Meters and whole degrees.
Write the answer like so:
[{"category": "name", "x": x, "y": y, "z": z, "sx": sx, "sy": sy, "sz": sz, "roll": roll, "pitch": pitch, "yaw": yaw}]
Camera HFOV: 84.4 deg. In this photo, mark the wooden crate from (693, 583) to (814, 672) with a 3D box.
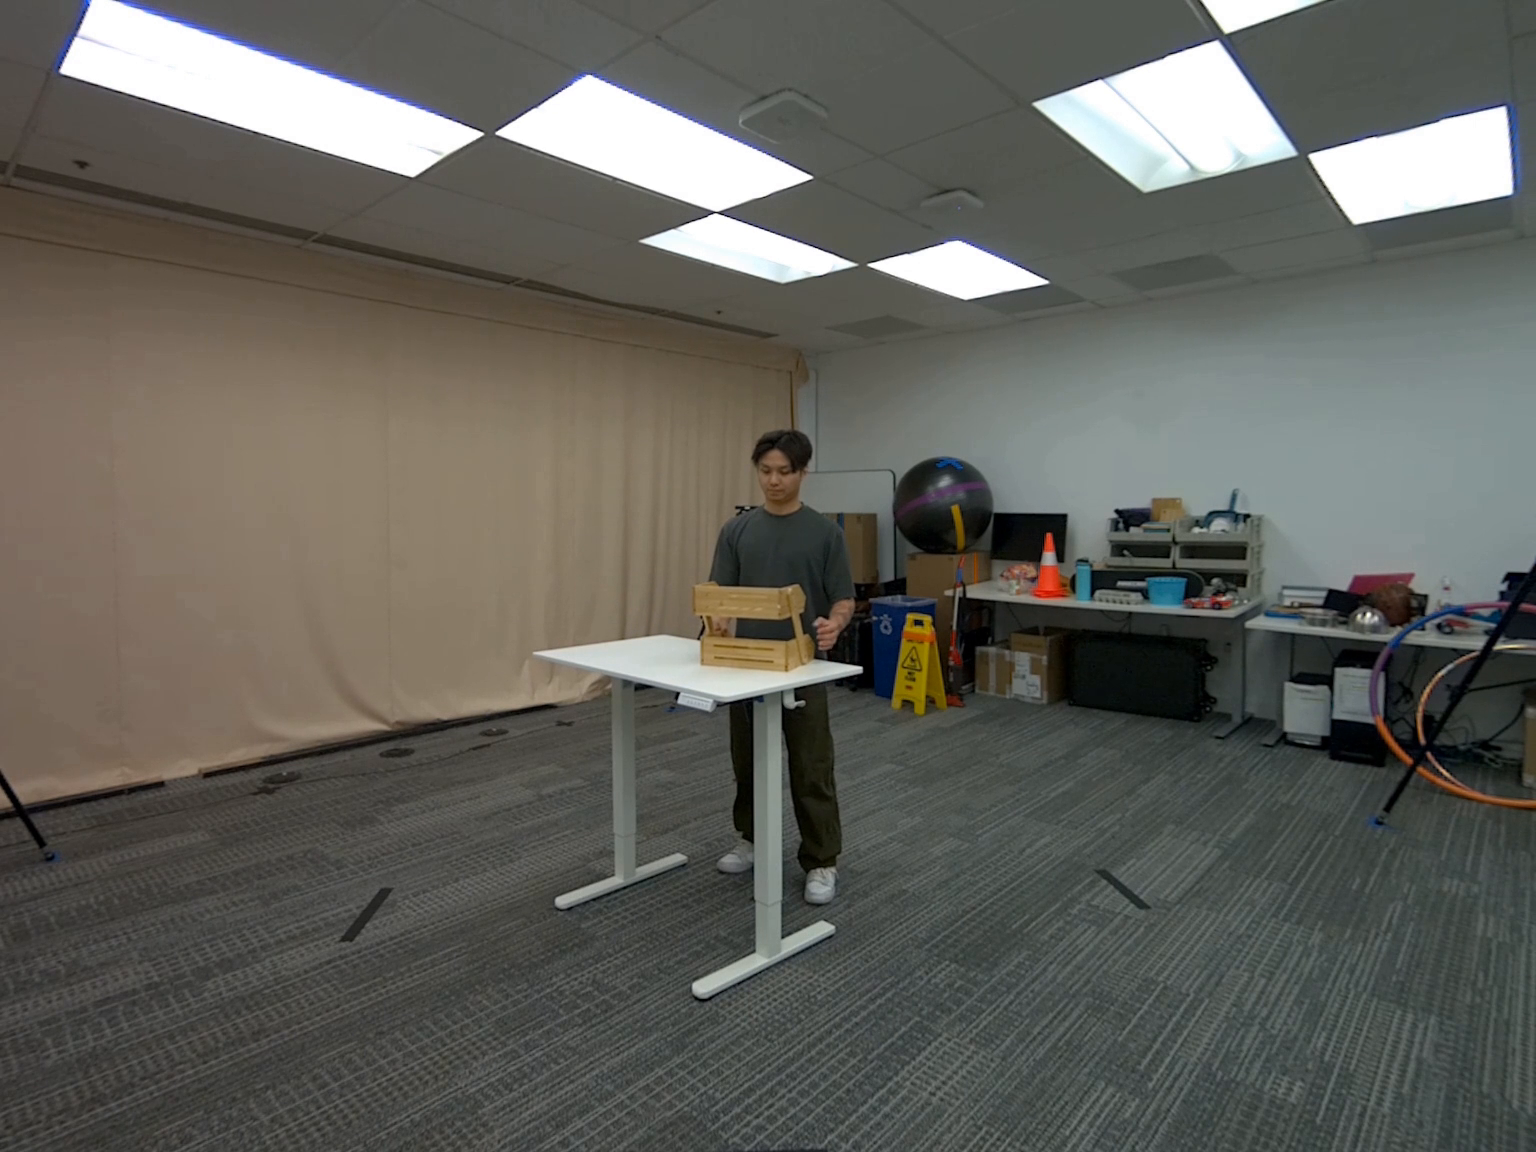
[{"category": "wooden crate", "x": -0.043, "y": 0.151, "z": 2.724, "sx": 0.332, "sy": 0.273, "sz": 0.295, "roll": 1, "pitch": 4, "yaw": 24}]
